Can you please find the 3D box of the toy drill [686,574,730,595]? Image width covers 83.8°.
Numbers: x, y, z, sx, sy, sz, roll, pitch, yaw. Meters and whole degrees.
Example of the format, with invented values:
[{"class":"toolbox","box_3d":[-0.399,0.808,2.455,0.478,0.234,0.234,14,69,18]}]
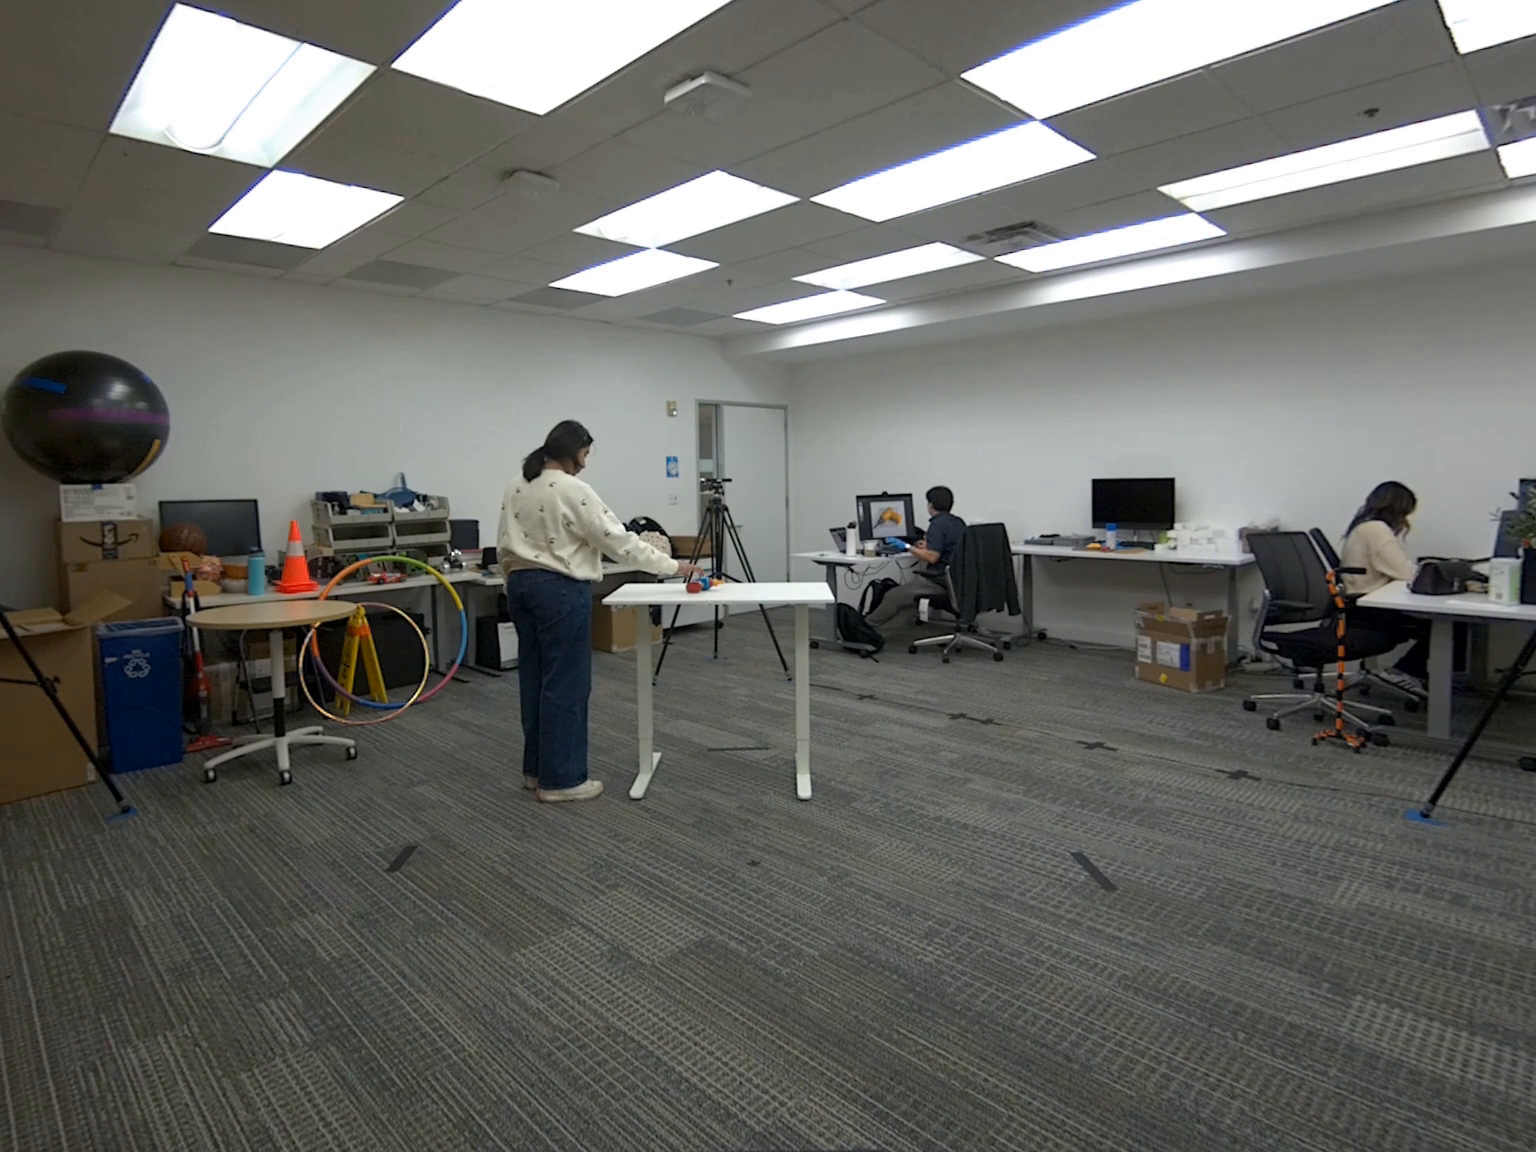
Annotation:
[{"class":"toy drill","box_3d":[-0.278,0.037,3.938,0.171,0.061,0.145,-5,5,8]}]
